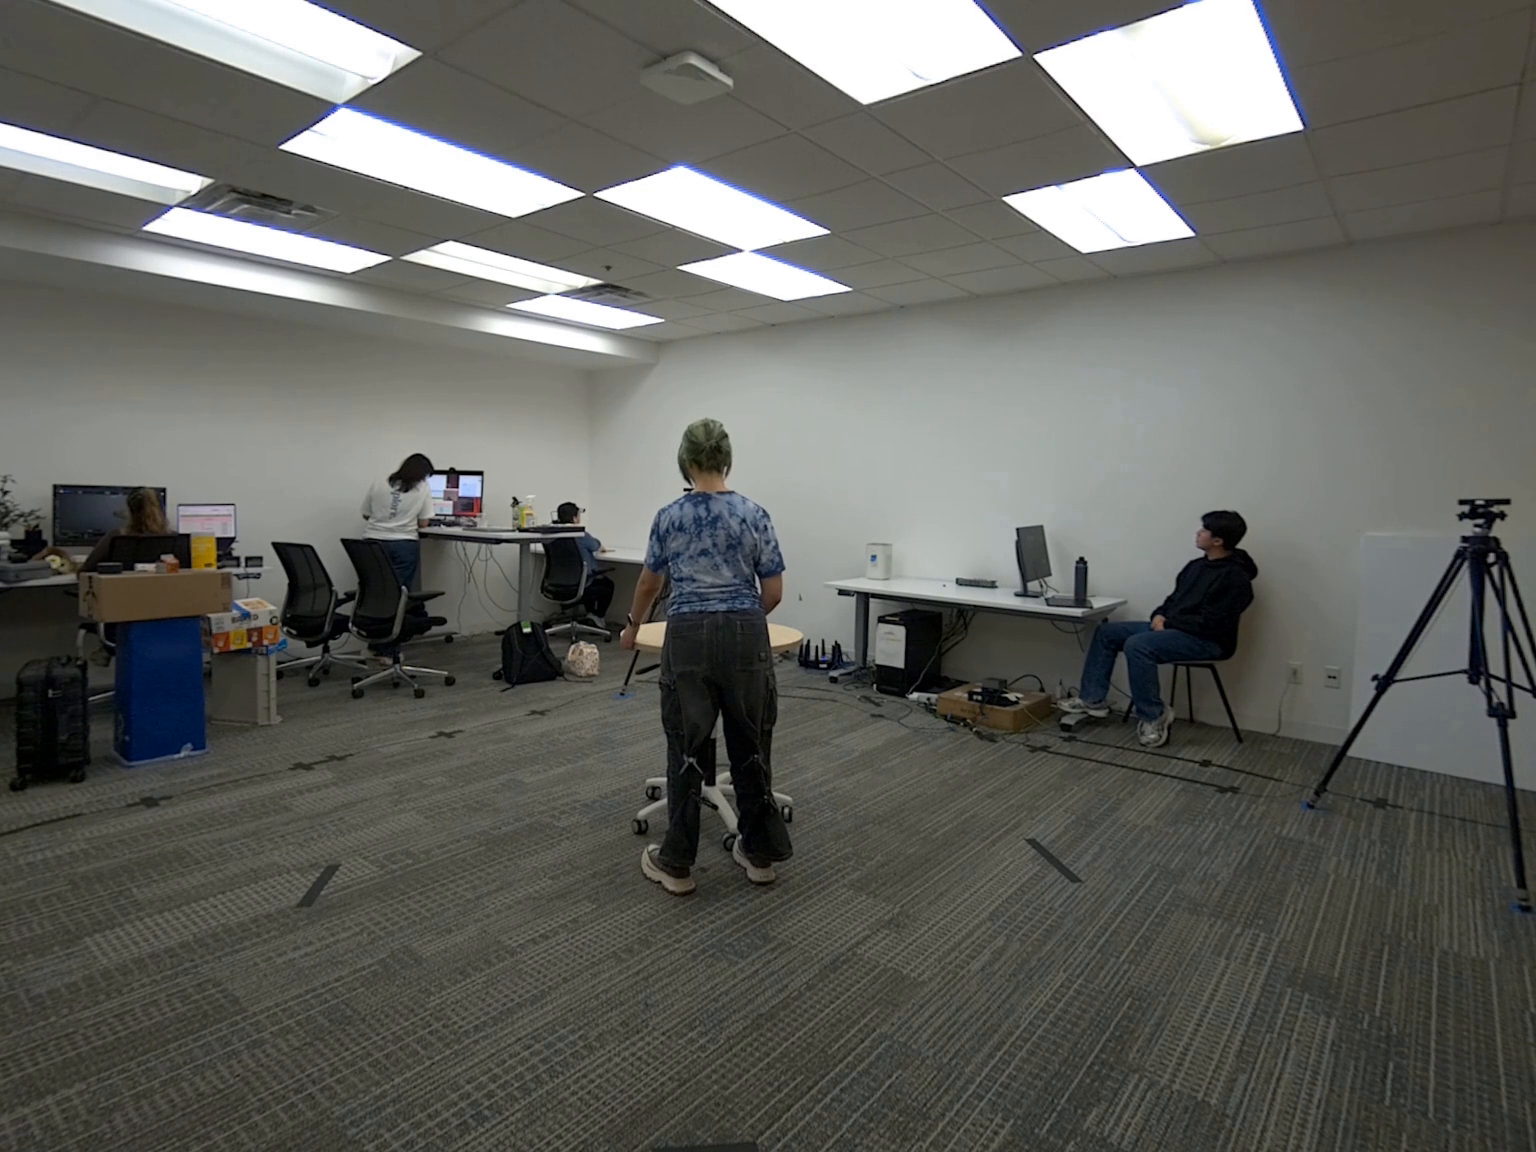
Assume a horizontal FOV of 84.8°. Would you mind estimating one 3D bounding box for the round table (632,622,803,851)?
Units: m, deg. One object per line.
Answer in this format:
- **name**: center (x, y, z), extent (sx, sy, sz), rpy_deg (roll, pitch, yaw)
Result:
- **round table**: center (-0.259, 0.632, 3.587), extent (0.763, 0.792, 0.767), rpy_deg (1, 4, -2)
